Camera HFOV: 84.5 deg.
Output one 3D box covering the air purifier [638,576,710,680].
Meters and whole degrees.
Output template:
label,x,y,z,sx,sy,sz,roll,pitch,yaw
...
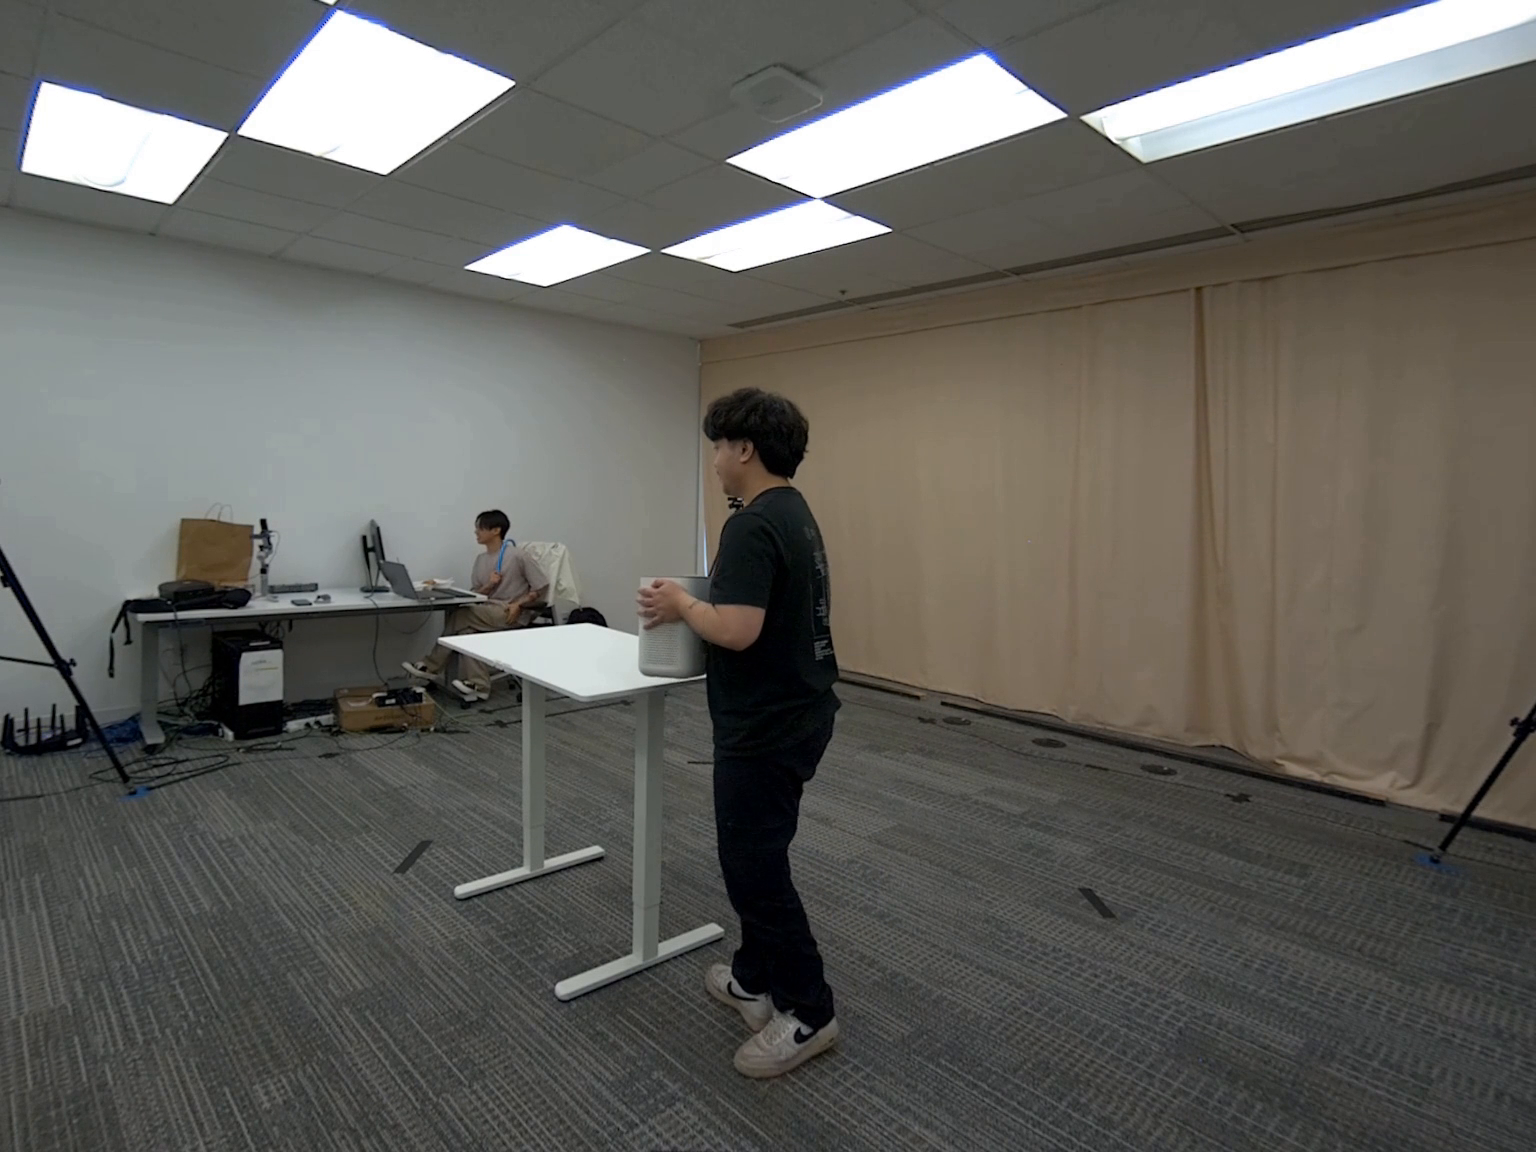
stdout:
label,x,y,z,sx,sy,sz,roll,pitch,yaw
air purifier,-0.241,0.136,2.243,0.174,0.266,0.168,-1,-4,20
